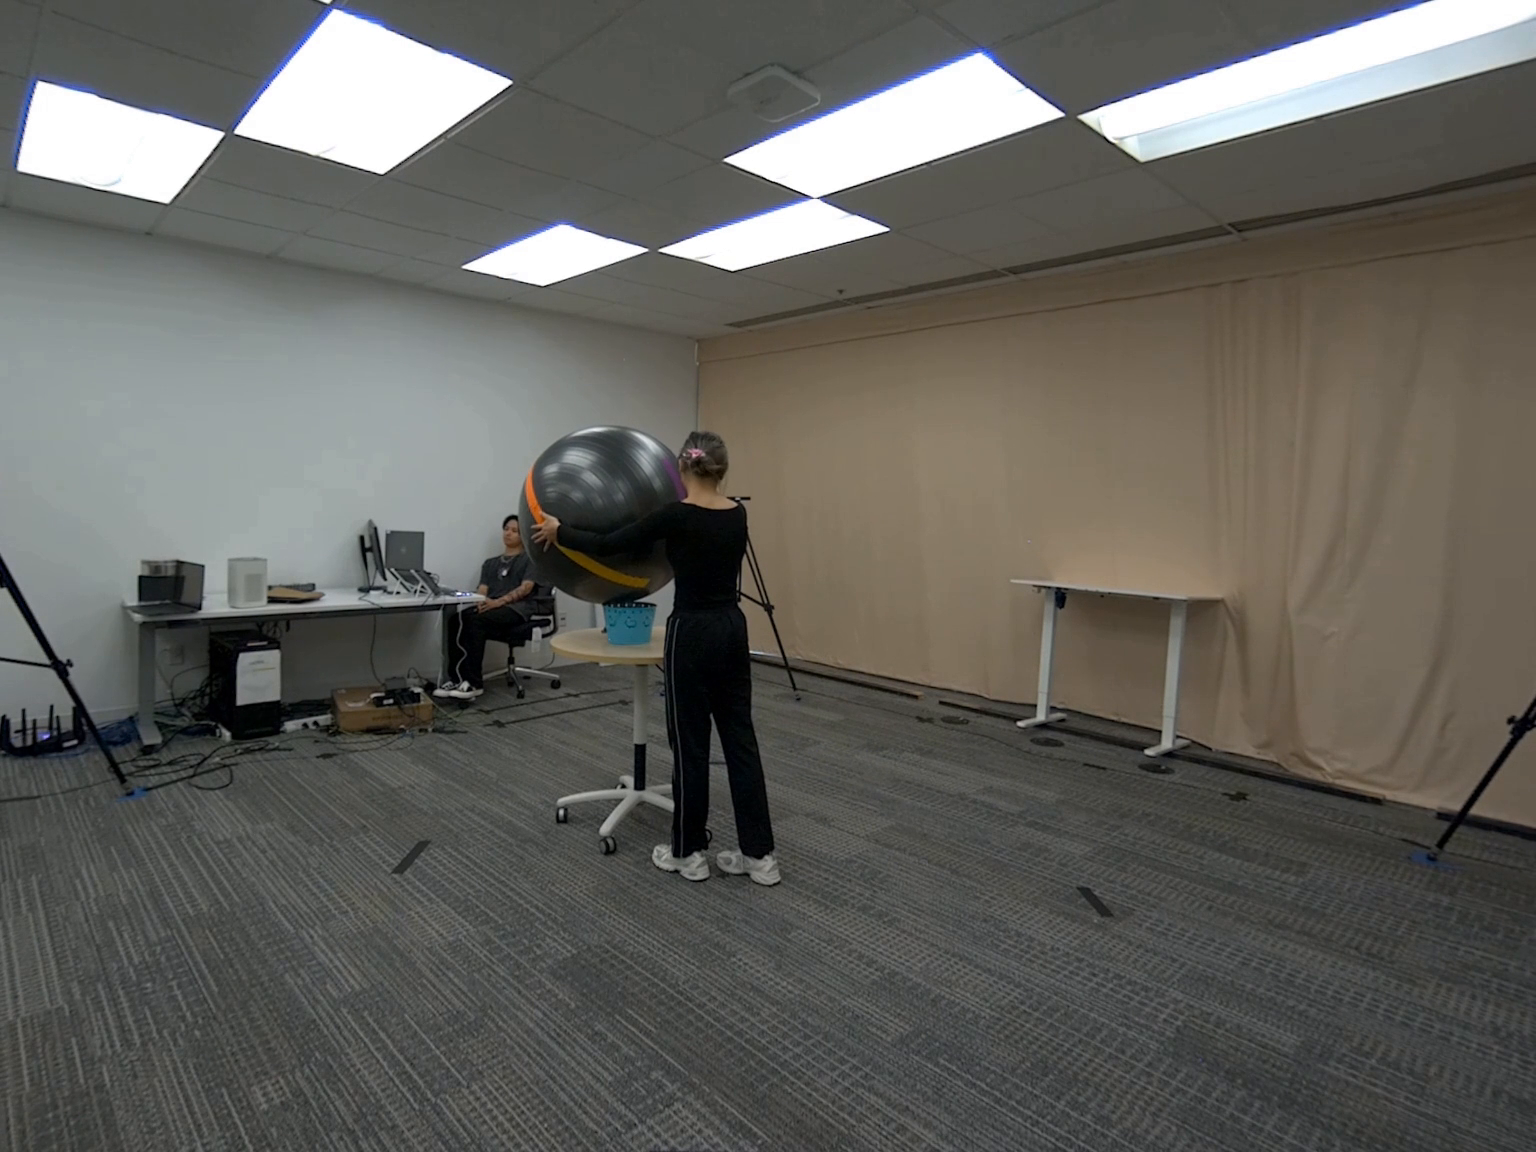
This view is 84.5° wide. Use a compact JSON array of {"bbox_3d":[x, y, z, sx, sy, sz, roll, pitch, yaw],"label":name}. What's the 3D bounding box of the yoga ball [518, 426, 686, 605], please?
[{"bbox_3d":[-0.679,-0.254,3.588,0.757,0.756,0.761,1,4,-1],"label":"yoga ball"}]
